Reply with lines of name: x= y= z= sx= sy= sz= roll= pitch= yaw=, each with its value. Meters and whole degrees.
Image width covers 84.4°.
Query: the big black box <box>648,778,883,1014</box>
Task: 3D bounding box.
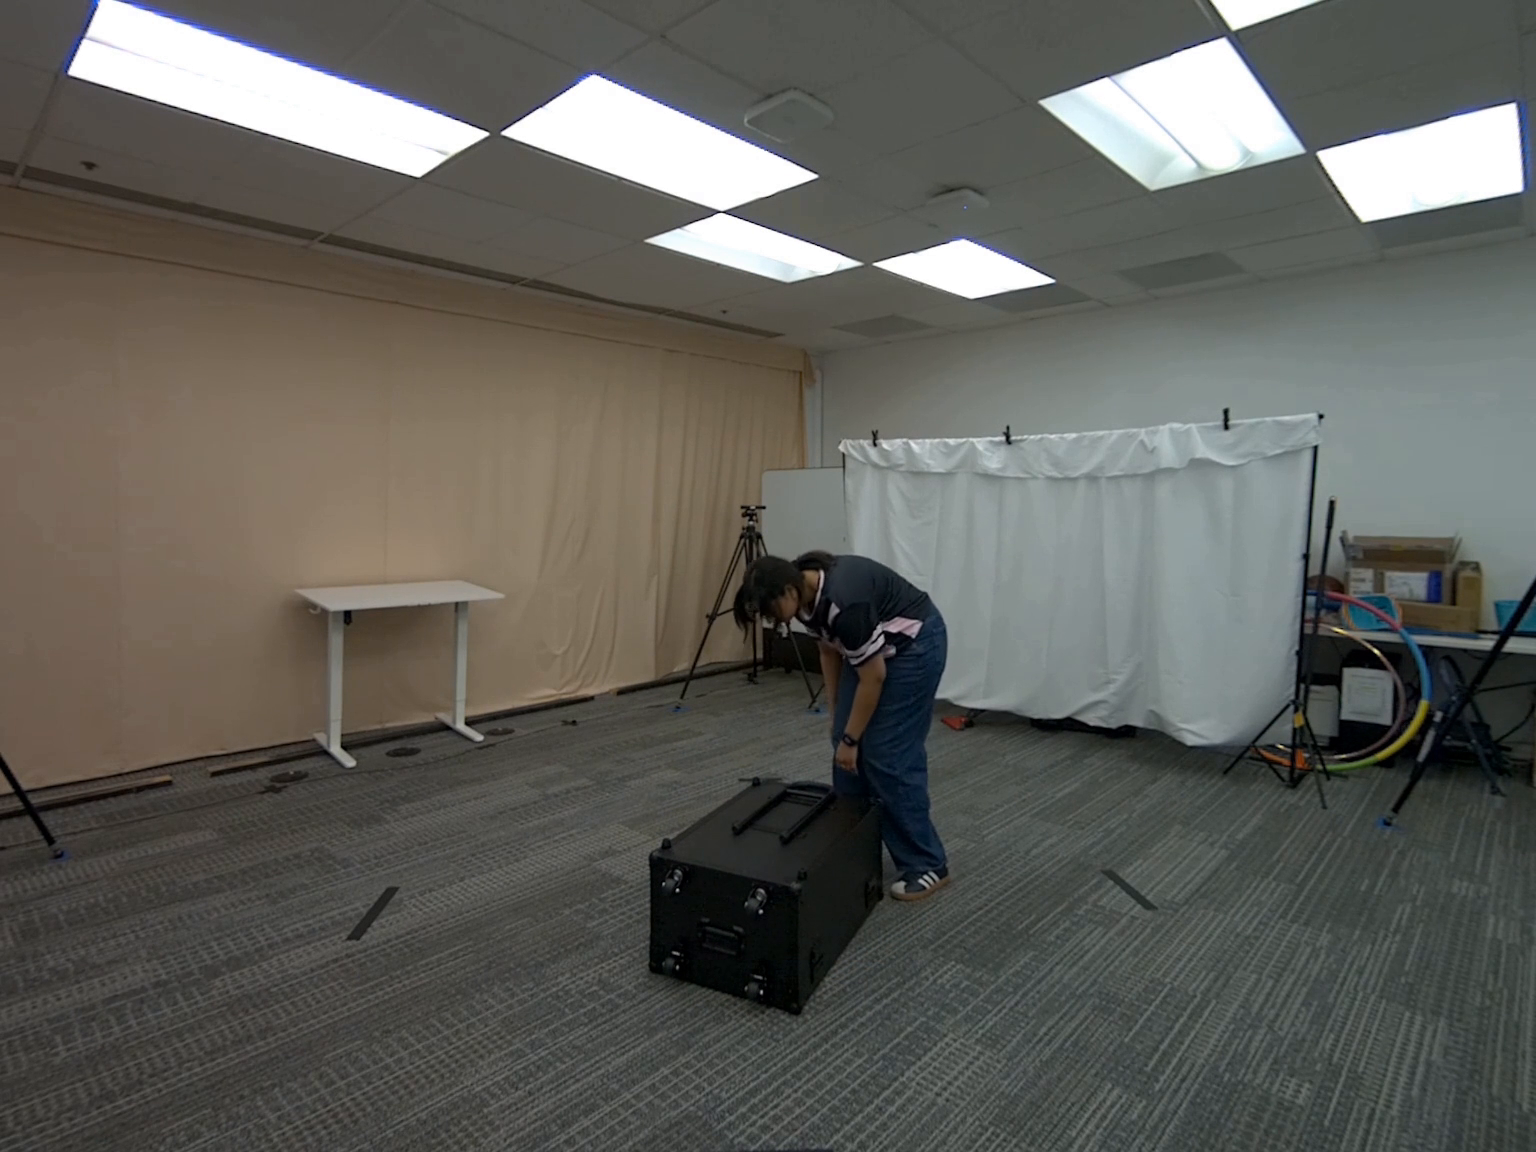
big black box: x=0.019 y=0.982 z=2.702 sx=0.537 sy=0.384 sz=0.848 roll=3 pitch=6 yaw=25
